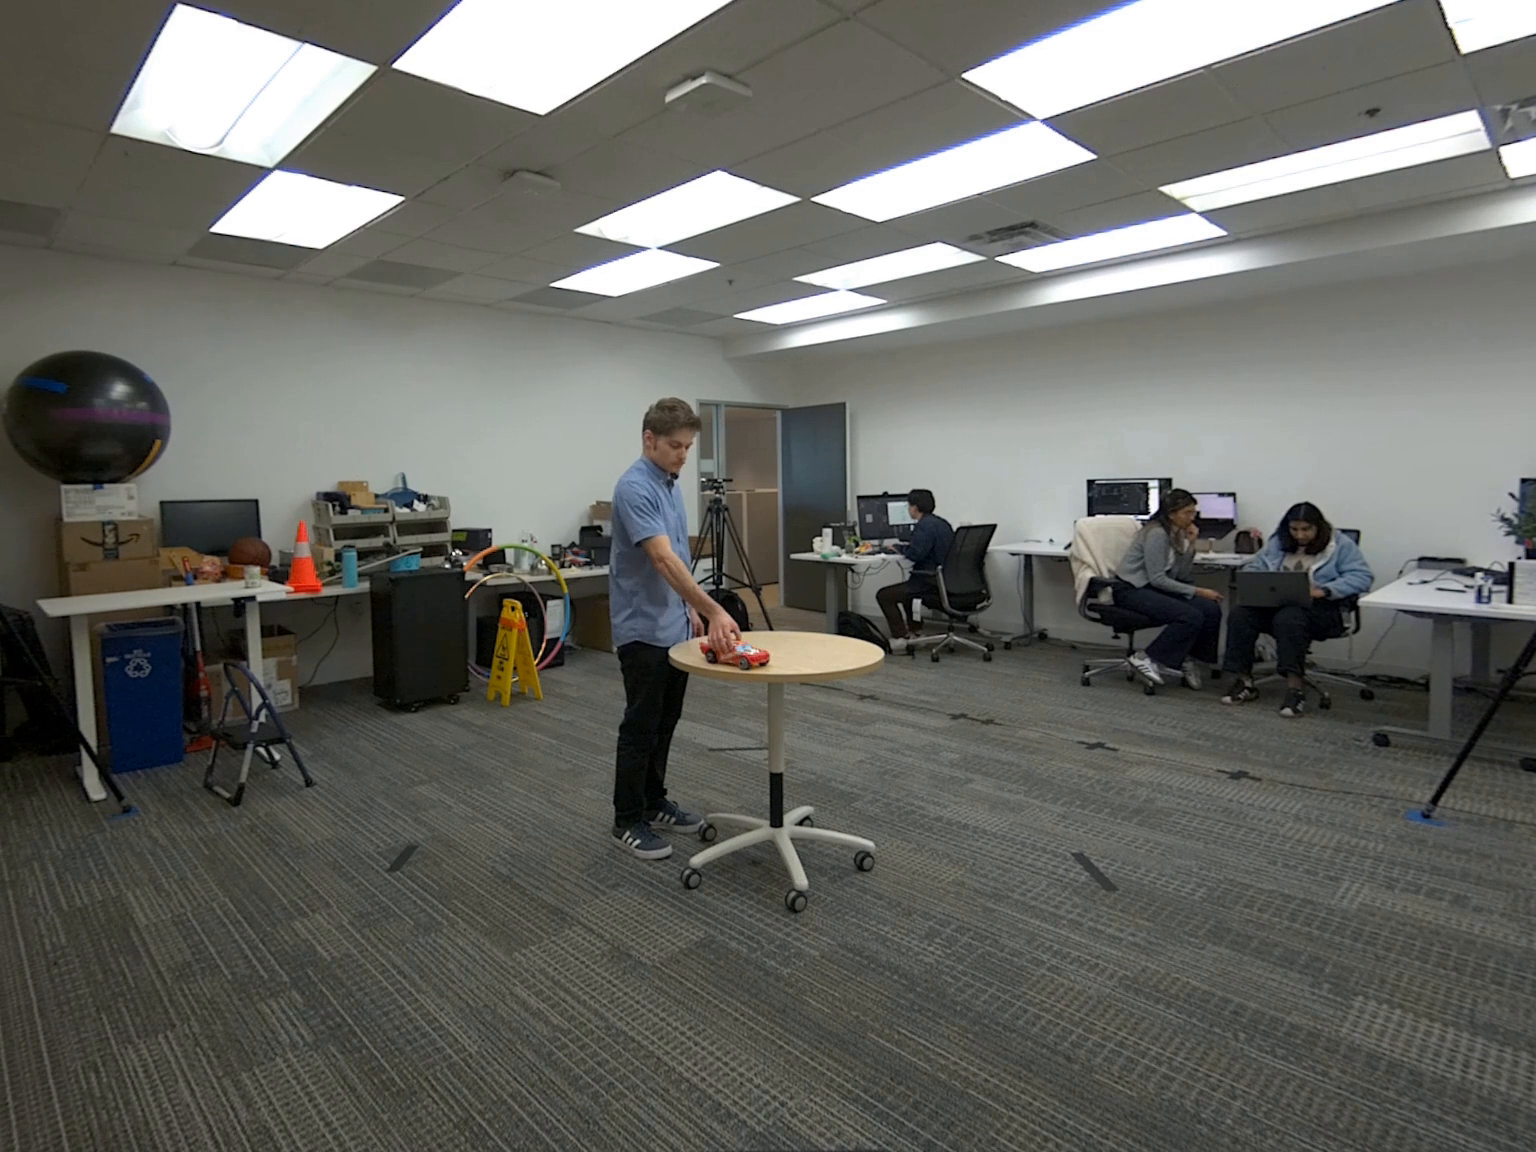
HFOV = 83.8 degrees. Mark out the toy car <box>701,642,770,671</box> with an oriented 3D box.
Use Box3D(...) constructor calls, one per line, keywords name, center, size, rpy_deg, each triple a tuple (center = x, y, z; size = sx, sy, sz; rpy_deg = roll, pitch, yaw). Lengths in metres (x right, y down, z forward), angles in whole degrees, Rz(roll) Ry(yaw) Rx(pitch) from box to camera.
Box3D(name="toy car", center=(-0.112, 0.260, 2.839), size=(0.264, 0.082, 0.127), rpy_deg=(19, 16, 39))
